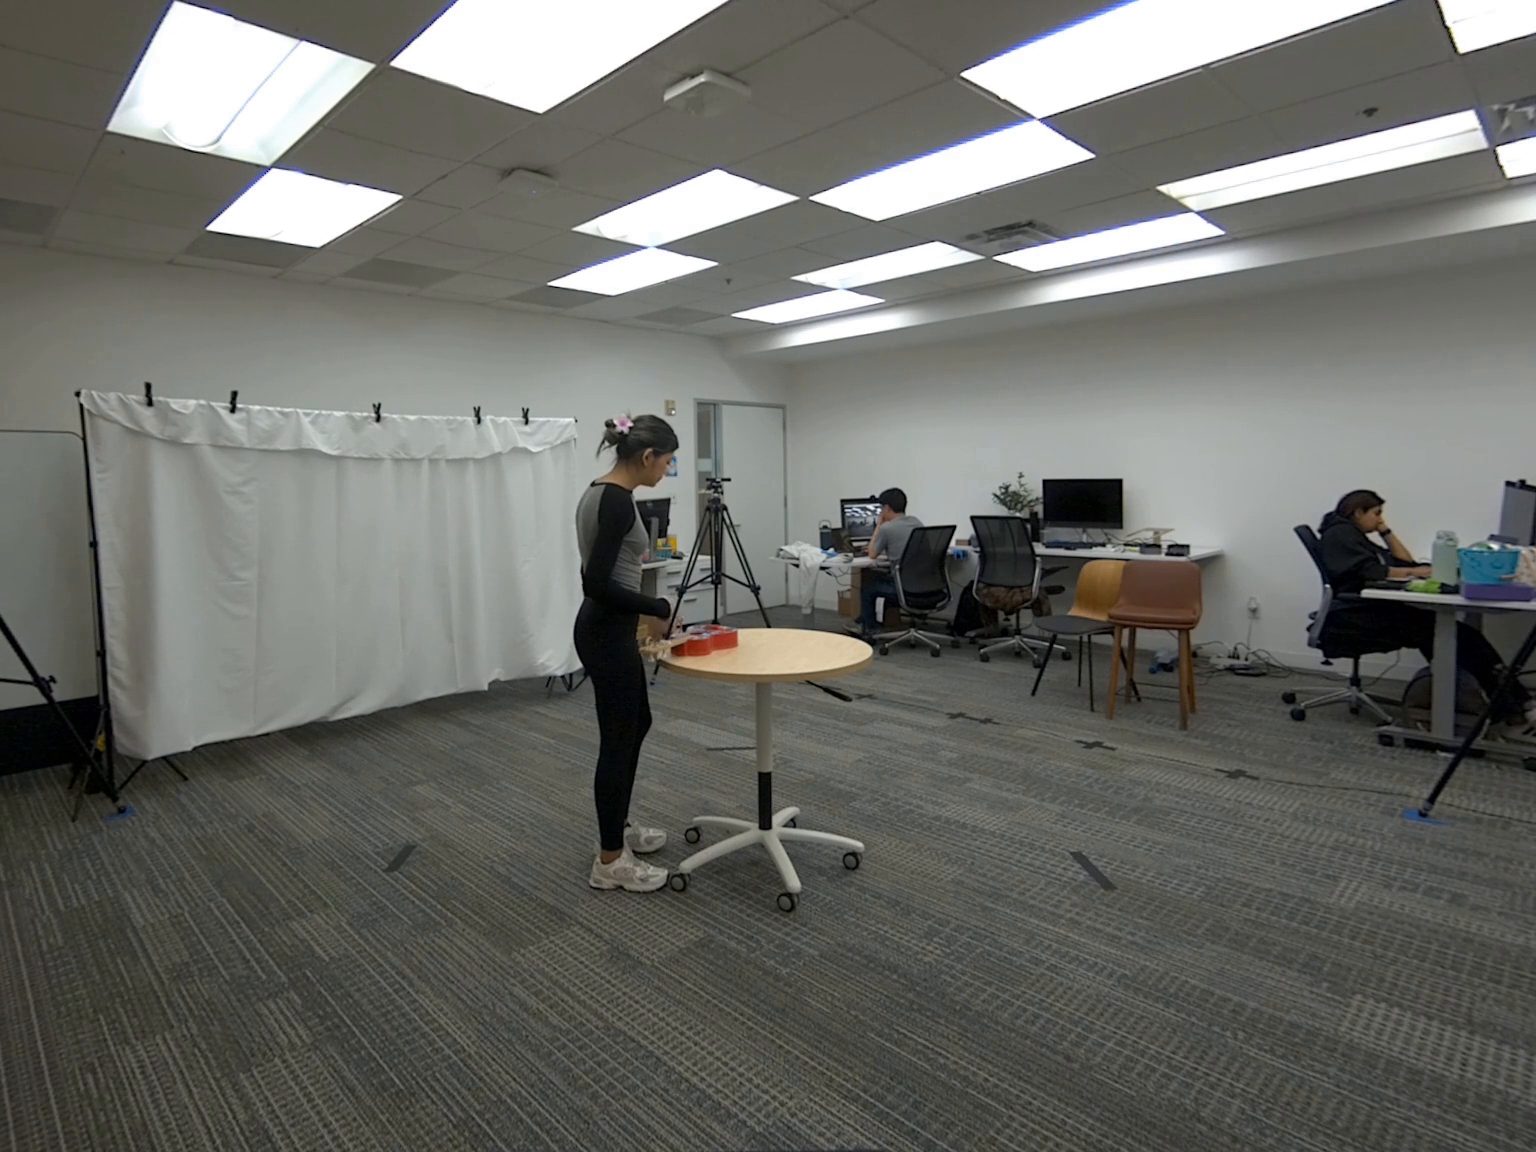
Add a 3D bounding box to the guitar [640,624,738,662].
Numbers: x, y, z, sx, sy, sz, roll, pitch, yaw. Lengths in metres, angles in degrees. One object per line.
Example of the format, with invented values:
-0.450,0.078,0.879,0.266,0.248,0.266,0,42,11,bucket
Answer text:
-0.310,0.235,2.953,0.199,0.070,0.486,6,9,35,guitar
